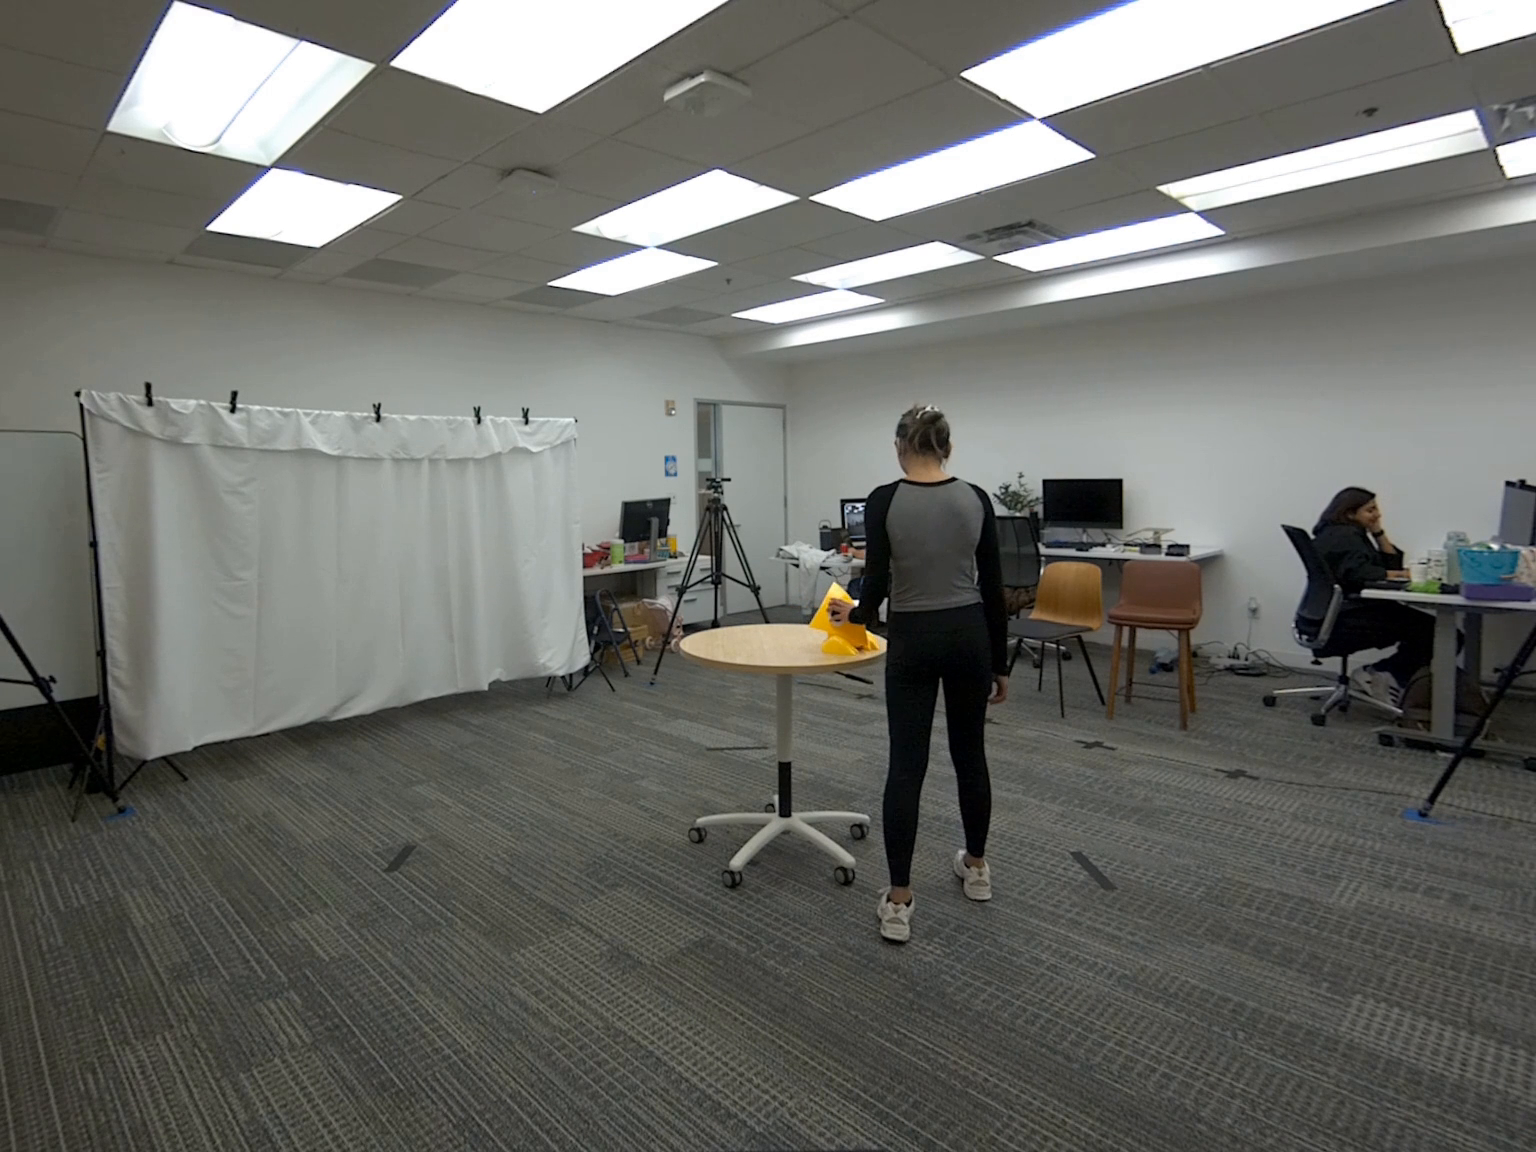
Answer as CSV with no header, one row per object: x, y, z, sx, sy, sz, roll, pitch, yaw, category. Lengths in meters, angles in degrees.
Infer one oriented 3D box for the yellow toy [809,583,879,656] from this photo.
0.286,0.146,3.015,0.199,0.229,0.199,-5,8,-42,yellow toy
